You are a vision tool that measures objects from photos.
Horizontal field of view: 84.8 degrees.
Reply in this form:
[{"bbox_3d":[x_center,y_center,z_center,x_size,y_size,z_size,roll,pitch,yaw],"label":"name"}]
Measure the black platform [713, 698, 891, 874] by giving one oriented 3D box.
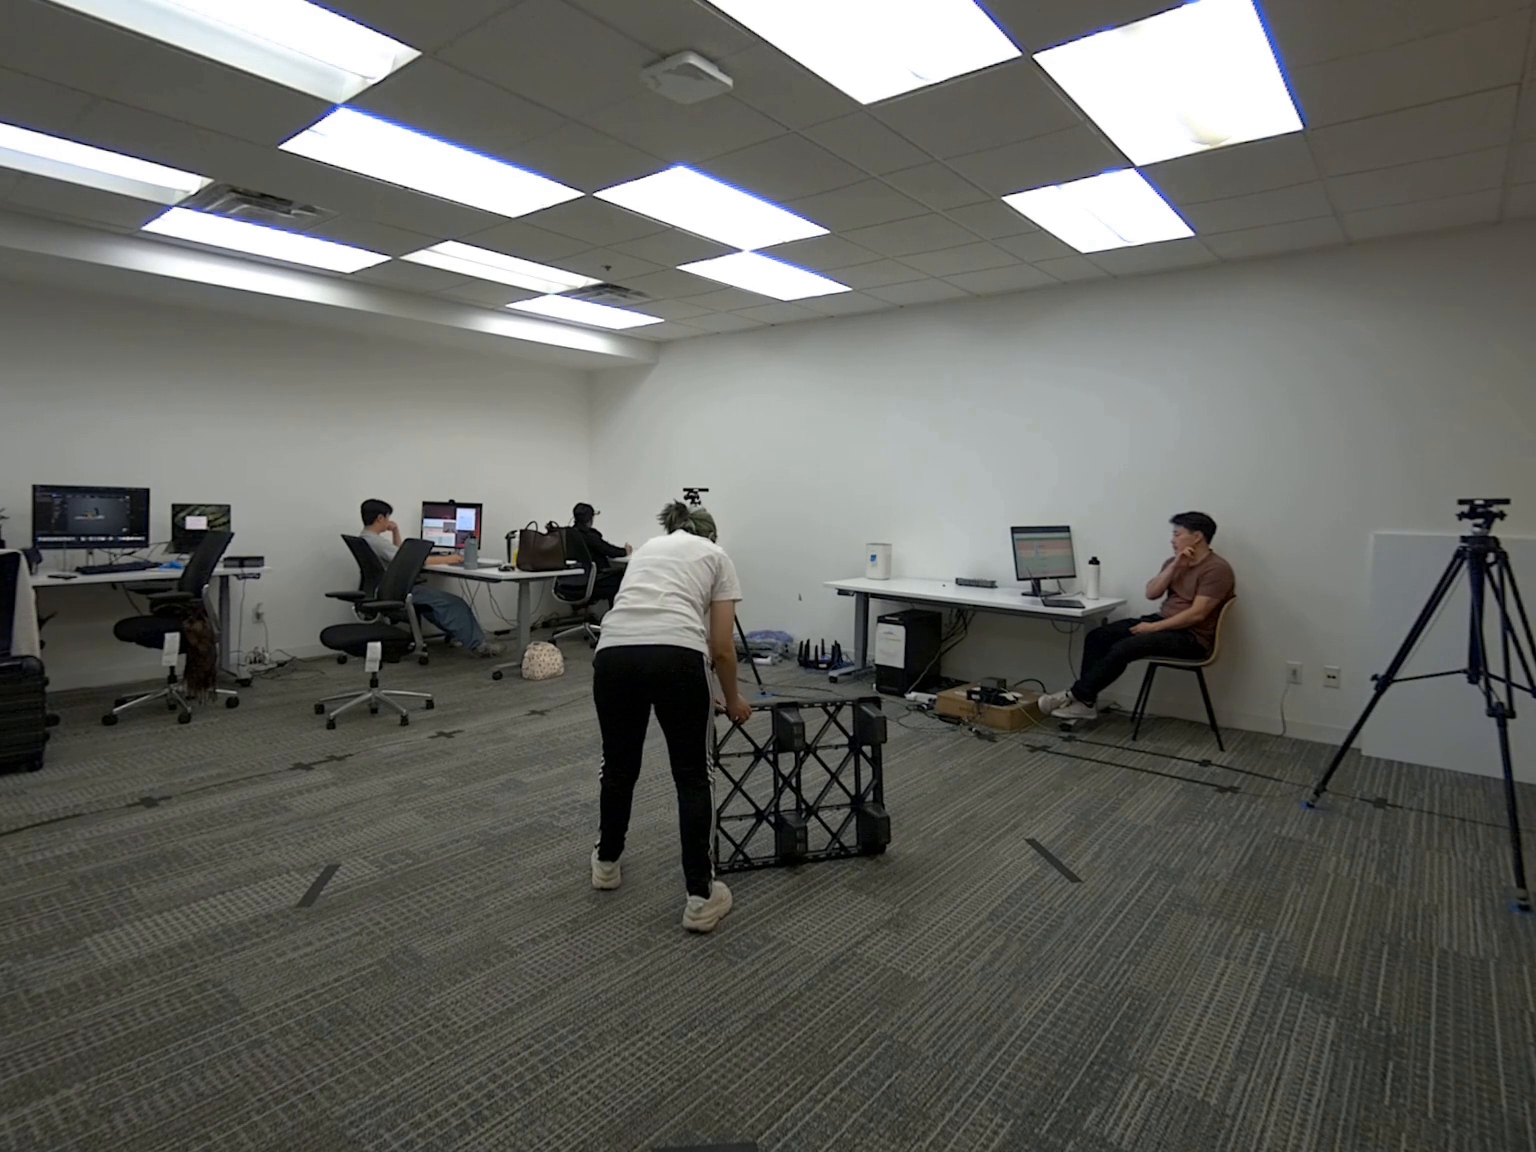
[{"bbox_3d":[0.091,0.764,3.146,0.790,0.607,0.145,-1,-4,-19],"label":"black platform"}]
